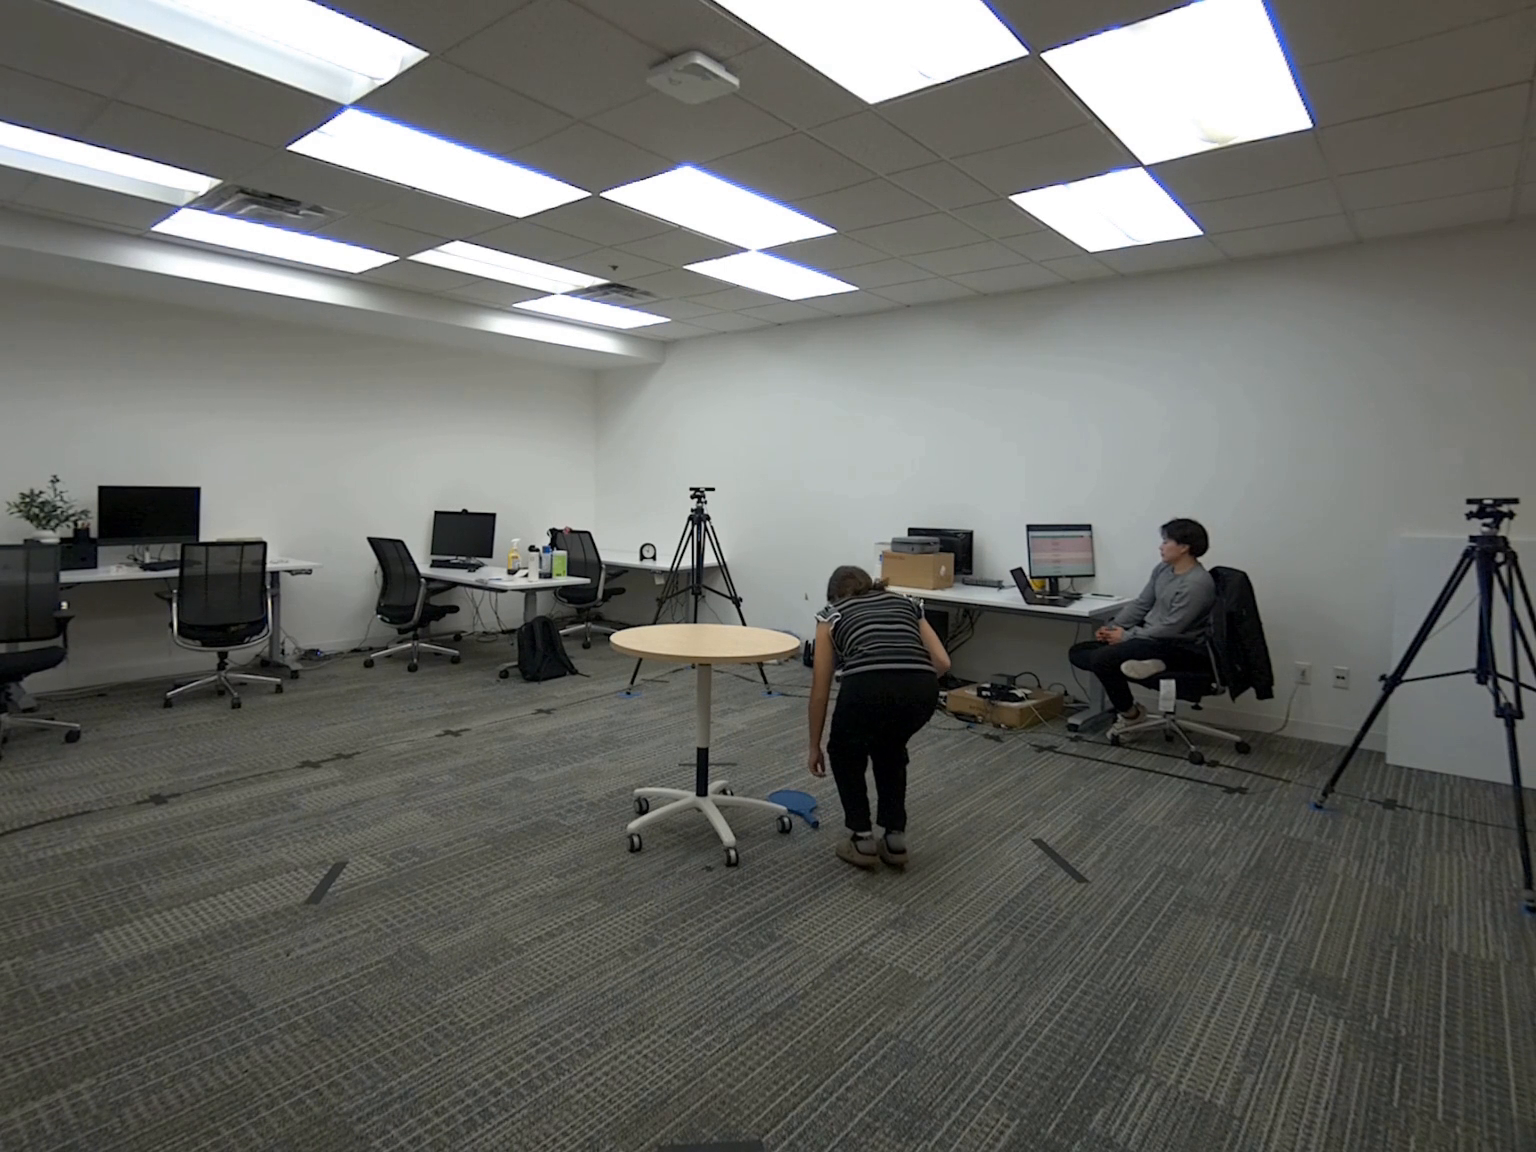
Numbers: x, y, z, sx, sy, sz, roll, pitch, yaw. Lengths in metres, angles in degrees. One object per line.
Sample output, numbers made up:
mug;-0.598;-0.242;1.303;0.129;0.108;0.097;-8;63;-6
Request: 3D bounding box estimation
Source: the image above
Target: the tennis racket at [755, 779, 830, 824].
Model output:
tennis racket;0.097;0.981;3.690;0.211;0.031;0.440;0;5;-13
